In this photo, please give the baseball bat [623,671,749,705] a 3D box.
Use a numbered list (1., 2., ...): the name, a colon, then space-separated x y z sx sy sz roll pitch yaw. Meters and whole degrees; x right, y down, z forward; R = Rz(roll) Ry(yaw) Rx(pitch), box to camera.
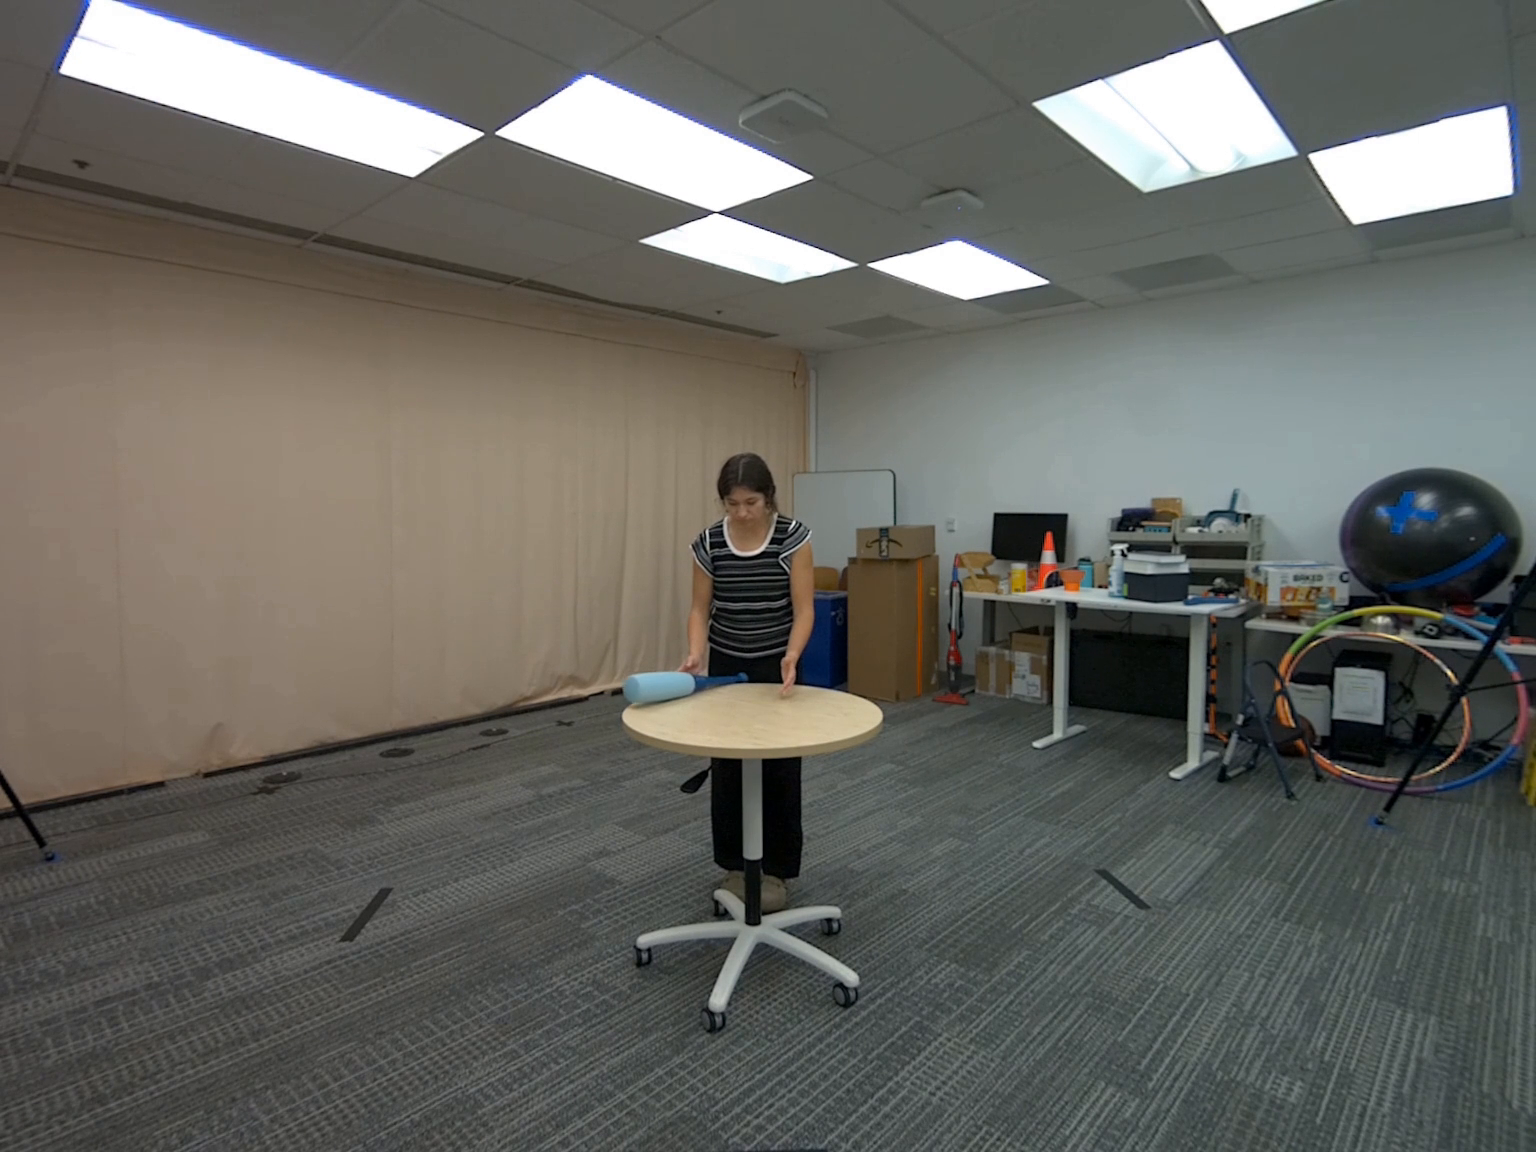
1. baseball bat: -0.238 0.353 2.731 0.092 0.089 0.525 3 -1 38
